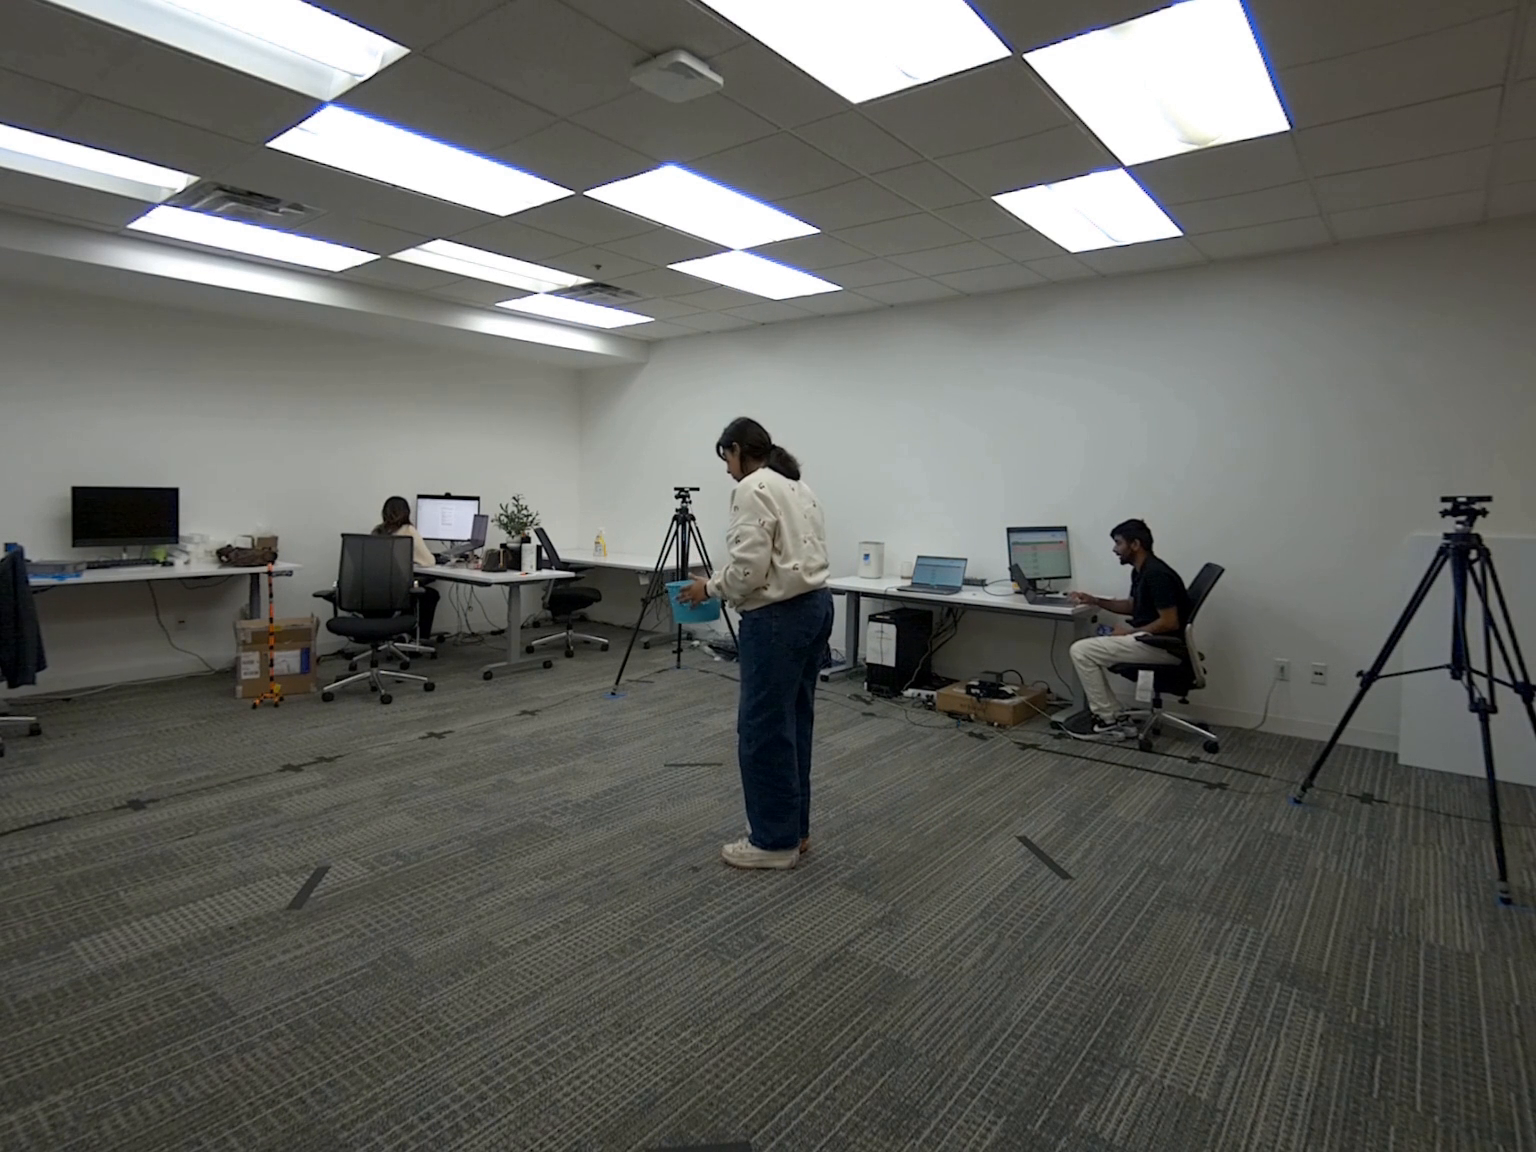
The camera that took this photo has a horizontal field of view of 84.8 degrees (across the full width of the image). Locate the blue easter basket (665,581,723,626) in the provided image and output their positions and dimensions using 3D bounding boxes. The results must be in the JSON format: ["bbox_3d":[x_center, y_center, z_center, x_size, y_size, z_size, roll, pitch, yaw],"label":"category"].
[{"bbox_3d":[-0.291,0.105,3.371,0.243,0.155,0.245,-3,4,-2],"label":"blue easter basket"}]
